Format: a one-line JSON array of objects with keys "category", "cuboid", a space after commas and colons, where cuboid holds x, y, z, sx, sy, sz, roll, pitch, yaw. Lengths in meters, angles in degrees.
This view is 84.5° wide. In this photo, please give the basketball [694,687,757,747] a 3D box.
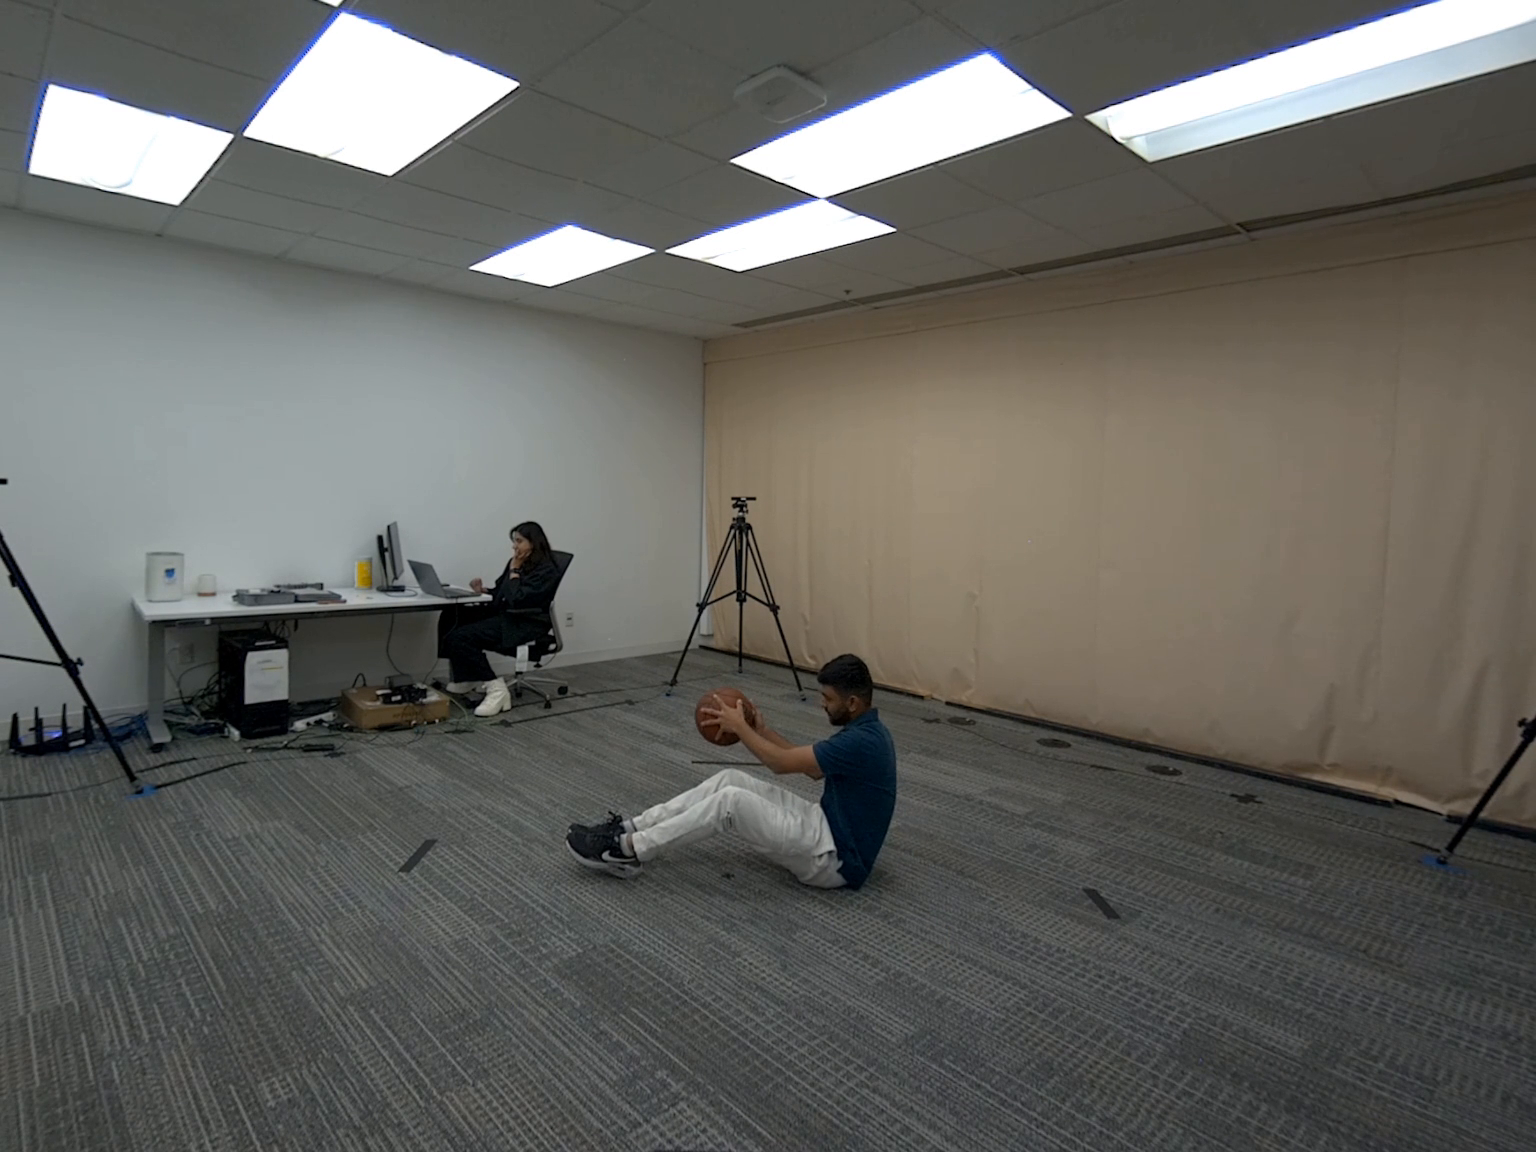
[{"category": "basketball", "cuboid": [-0.187, 0.571, 3.429, 0.236, 0.235, 0.237, 1, 4, -1]}]
